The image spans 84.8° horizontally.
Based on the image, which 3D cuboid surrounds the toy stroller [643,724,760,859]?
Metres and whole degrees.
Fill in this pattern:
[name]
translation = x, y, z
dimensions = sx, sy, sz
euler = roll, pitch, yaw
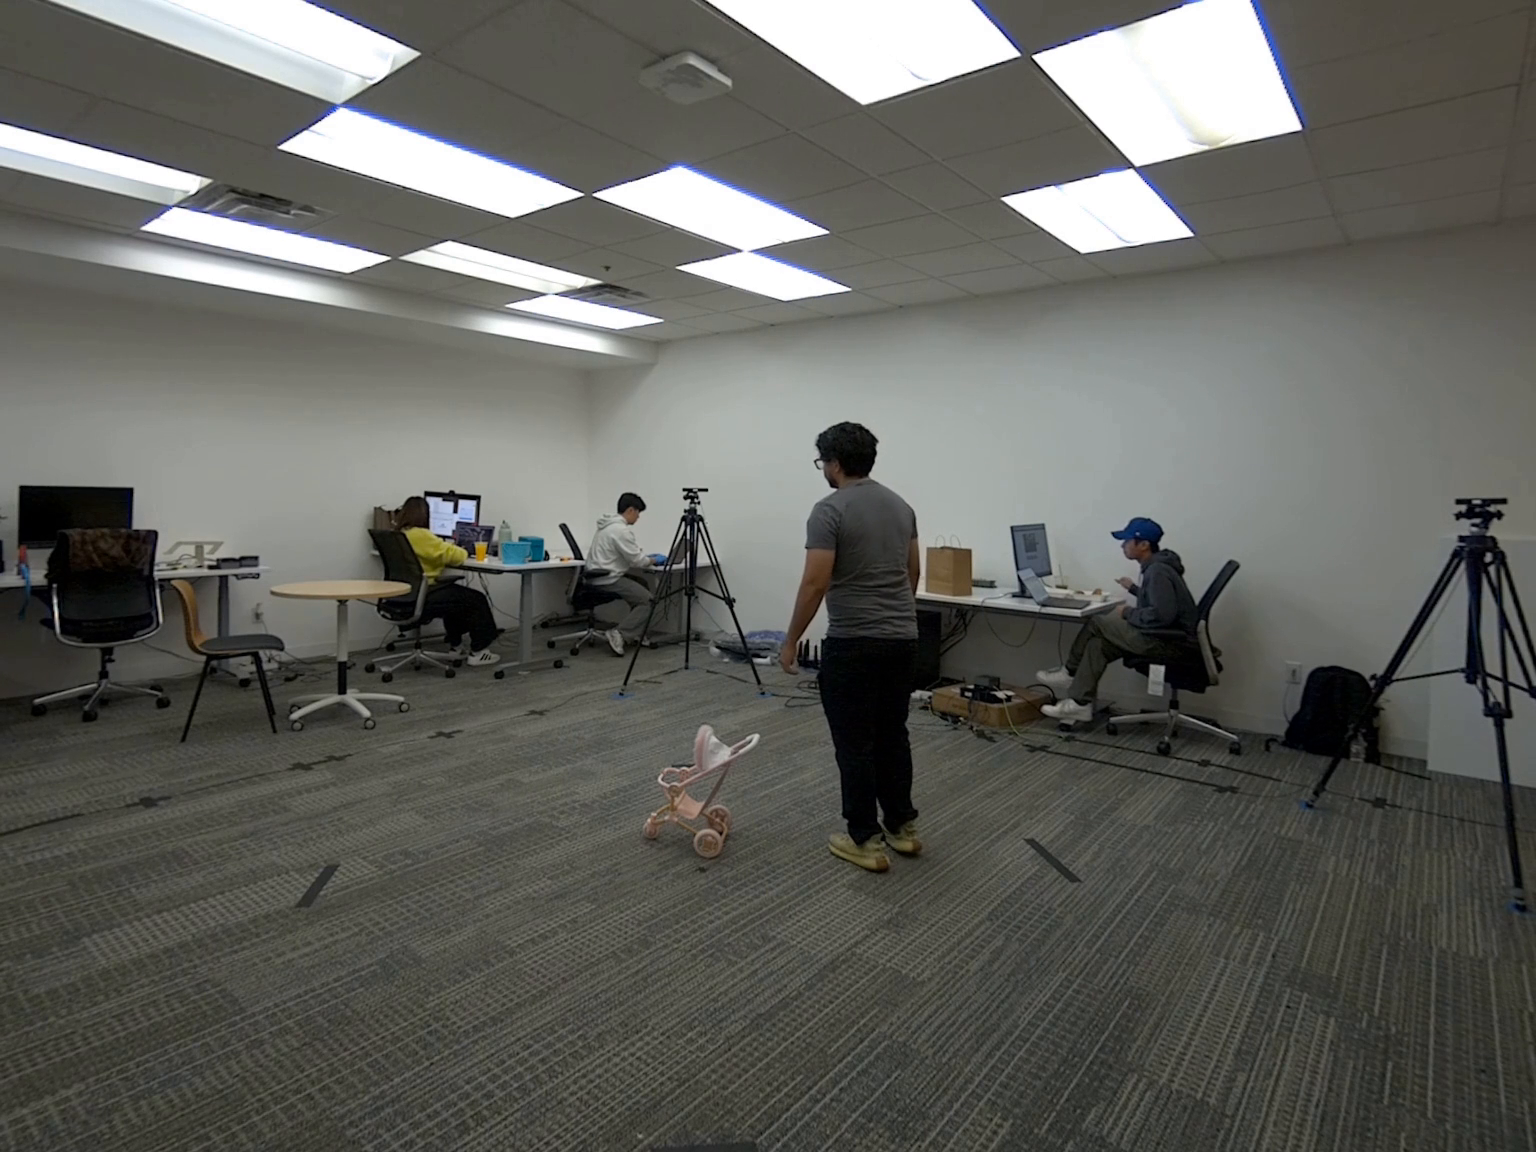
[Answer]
[toy stroller]
translation = -0.281, 0.826, 3.341
dimensions = 0.347, 0.533, 0.278
euler = 18, 6, 11
